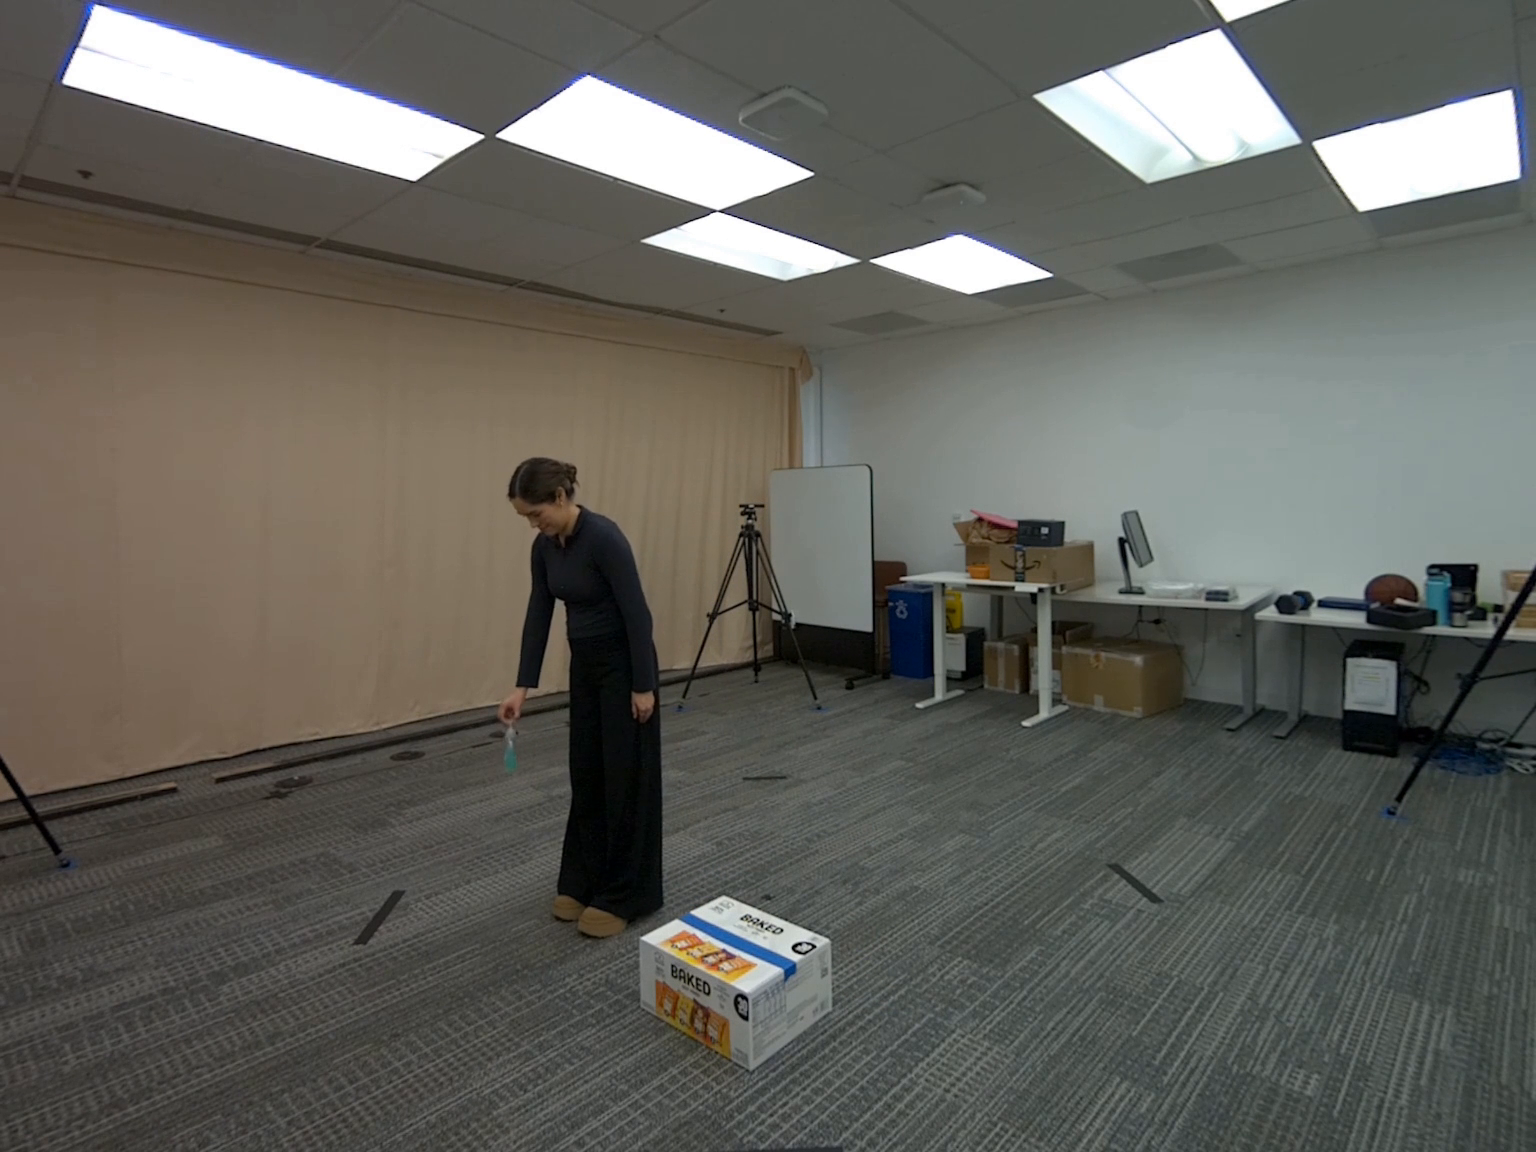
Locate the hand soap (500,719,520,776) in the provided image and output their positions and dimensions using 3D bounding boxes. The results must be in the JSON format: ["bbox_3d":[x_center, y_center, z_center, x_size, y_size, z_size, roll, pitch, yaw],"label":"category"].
[{"bbox_3d":[-0.861,0.568,2.818,0.043,0.168,0.085,3,-1,-9],"label":"hand soap"}]
